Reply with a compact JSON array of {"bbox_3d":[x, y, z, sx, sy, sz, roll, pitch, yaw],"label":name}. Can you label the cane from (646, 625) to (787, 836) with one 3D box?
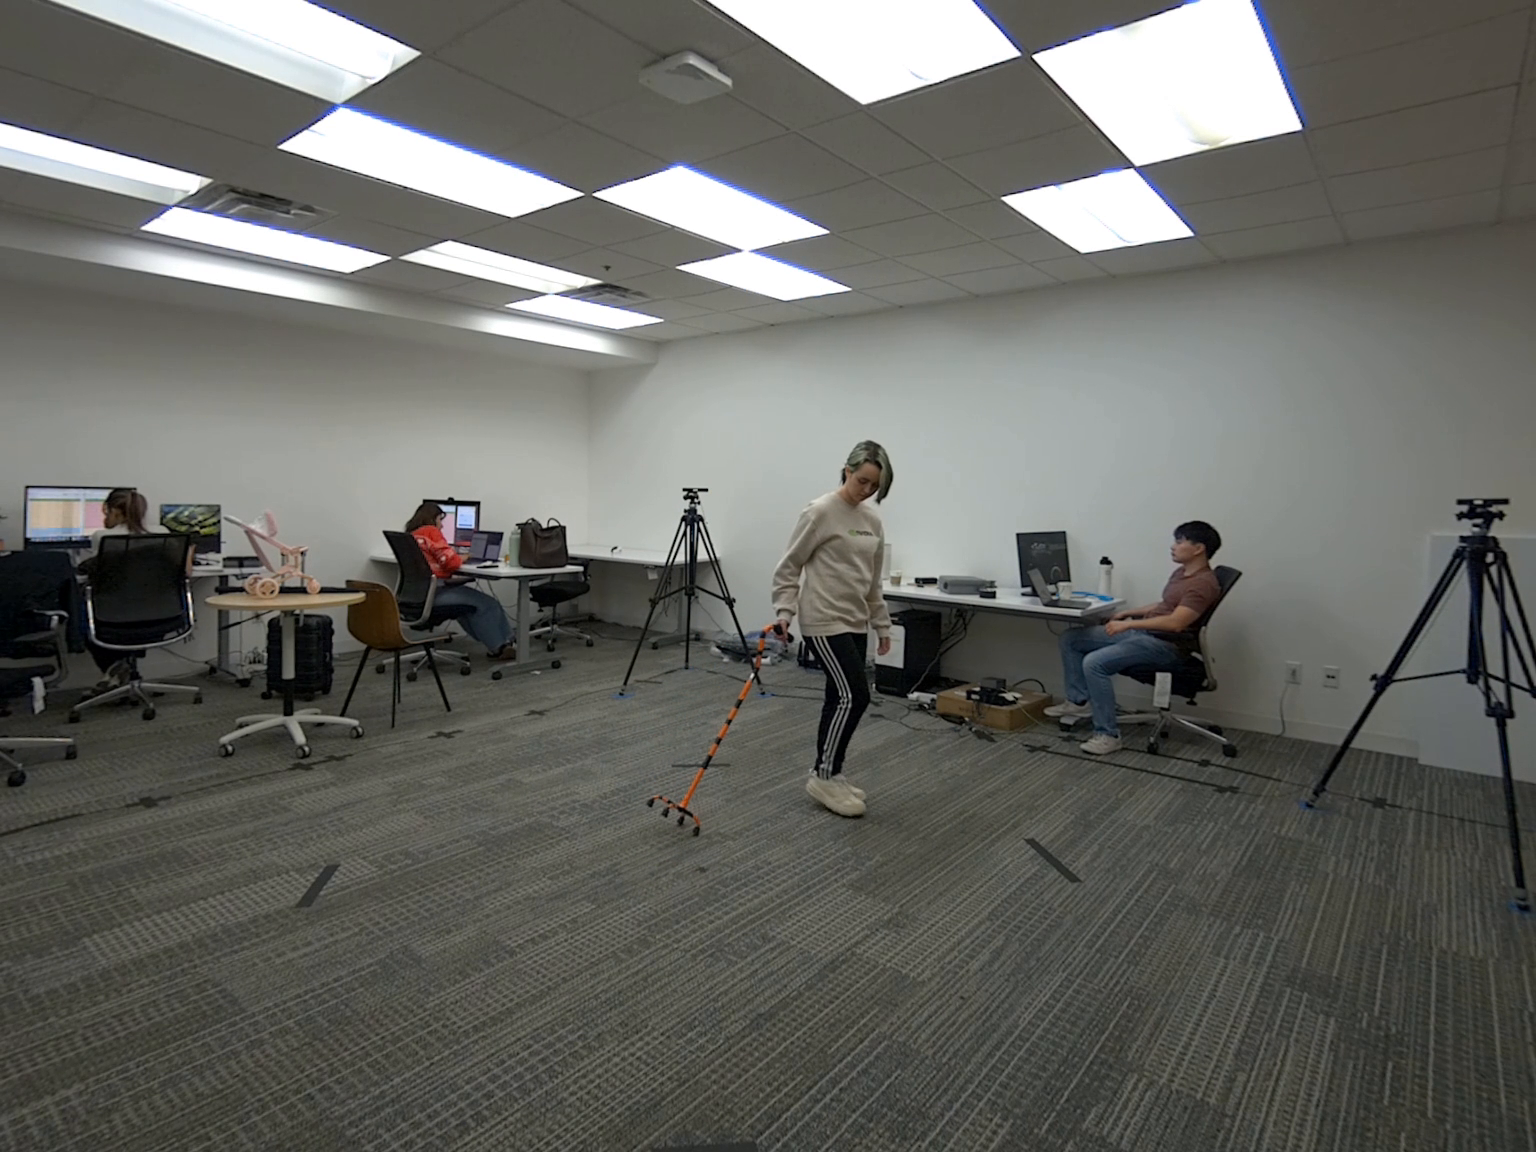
[{"bbox_3d":[-0.190,0.605,3.536,0.199,0.912,0.156,38,-18,-29],"label":"cane"}]
